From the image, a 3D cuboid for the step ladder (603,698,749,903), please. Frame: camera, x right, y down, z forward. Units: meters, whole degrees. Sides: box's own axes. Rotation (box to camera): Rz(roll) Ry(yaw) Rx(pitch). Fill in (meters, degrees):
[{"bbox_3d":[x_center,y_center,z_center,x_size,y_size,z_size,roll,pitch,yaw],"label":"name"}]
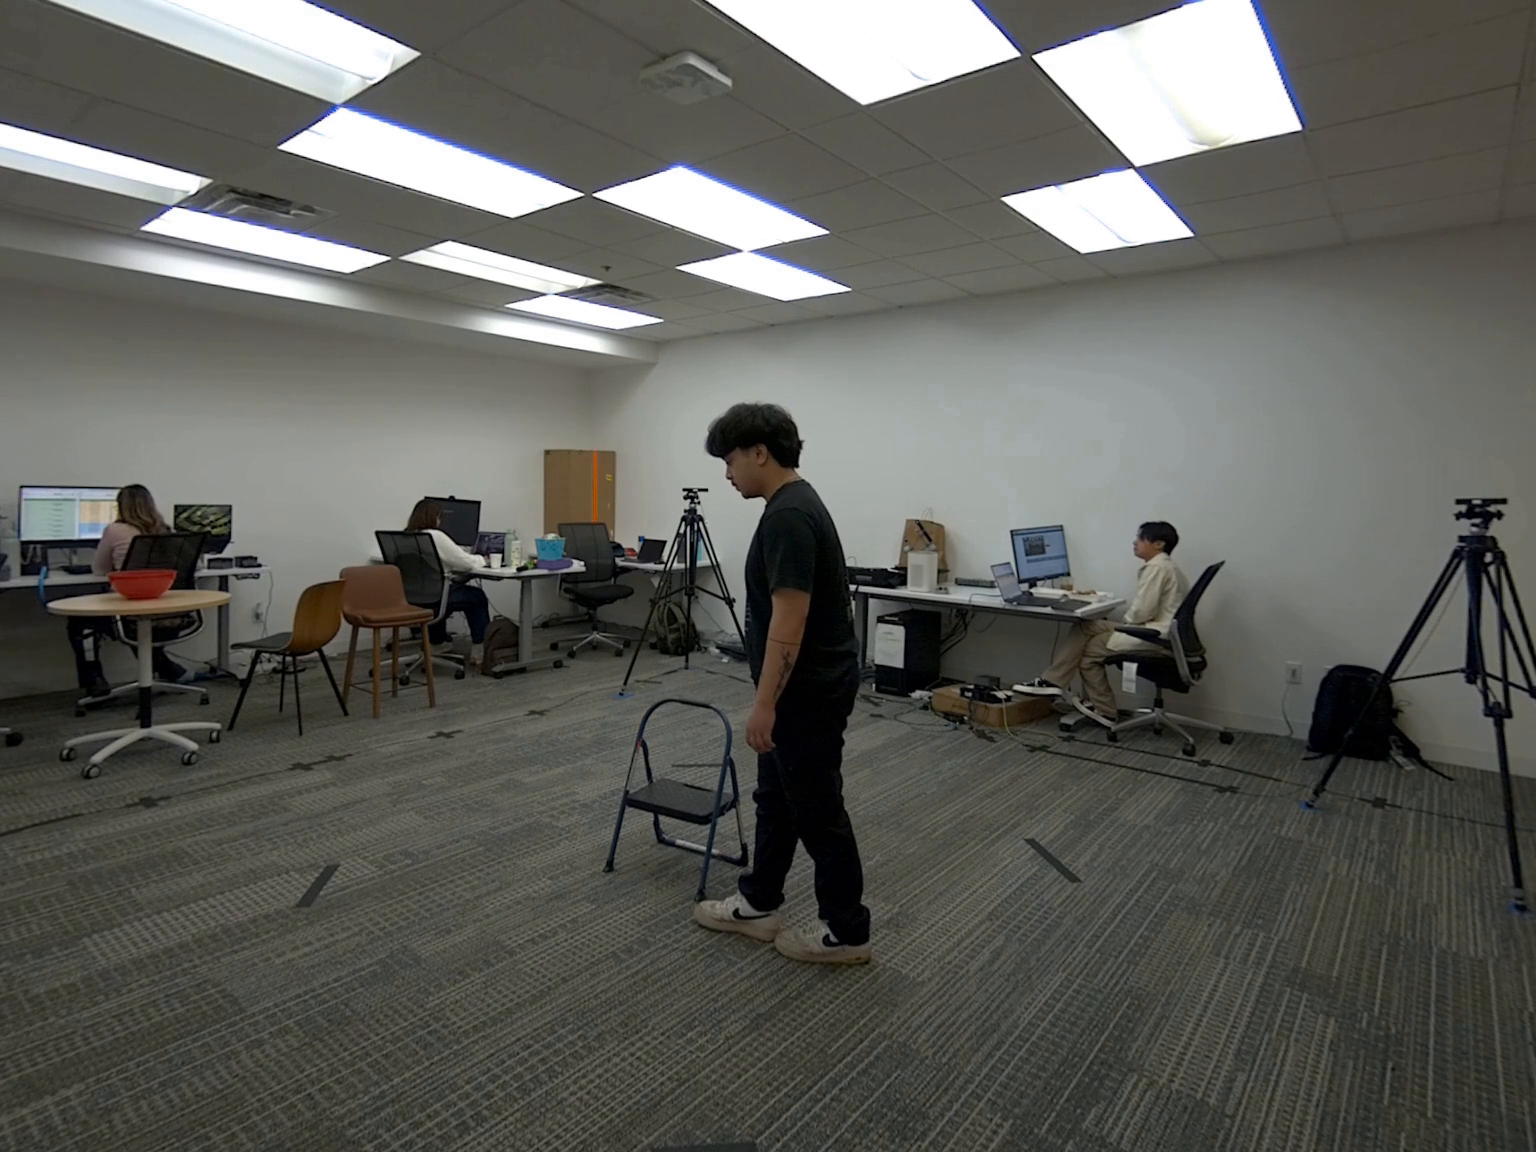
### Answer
[{"bbox_3d":[-0.336,0.765,3.100,0.443,0.604,0.340,3,4,30],"label":"step ladder"}]
